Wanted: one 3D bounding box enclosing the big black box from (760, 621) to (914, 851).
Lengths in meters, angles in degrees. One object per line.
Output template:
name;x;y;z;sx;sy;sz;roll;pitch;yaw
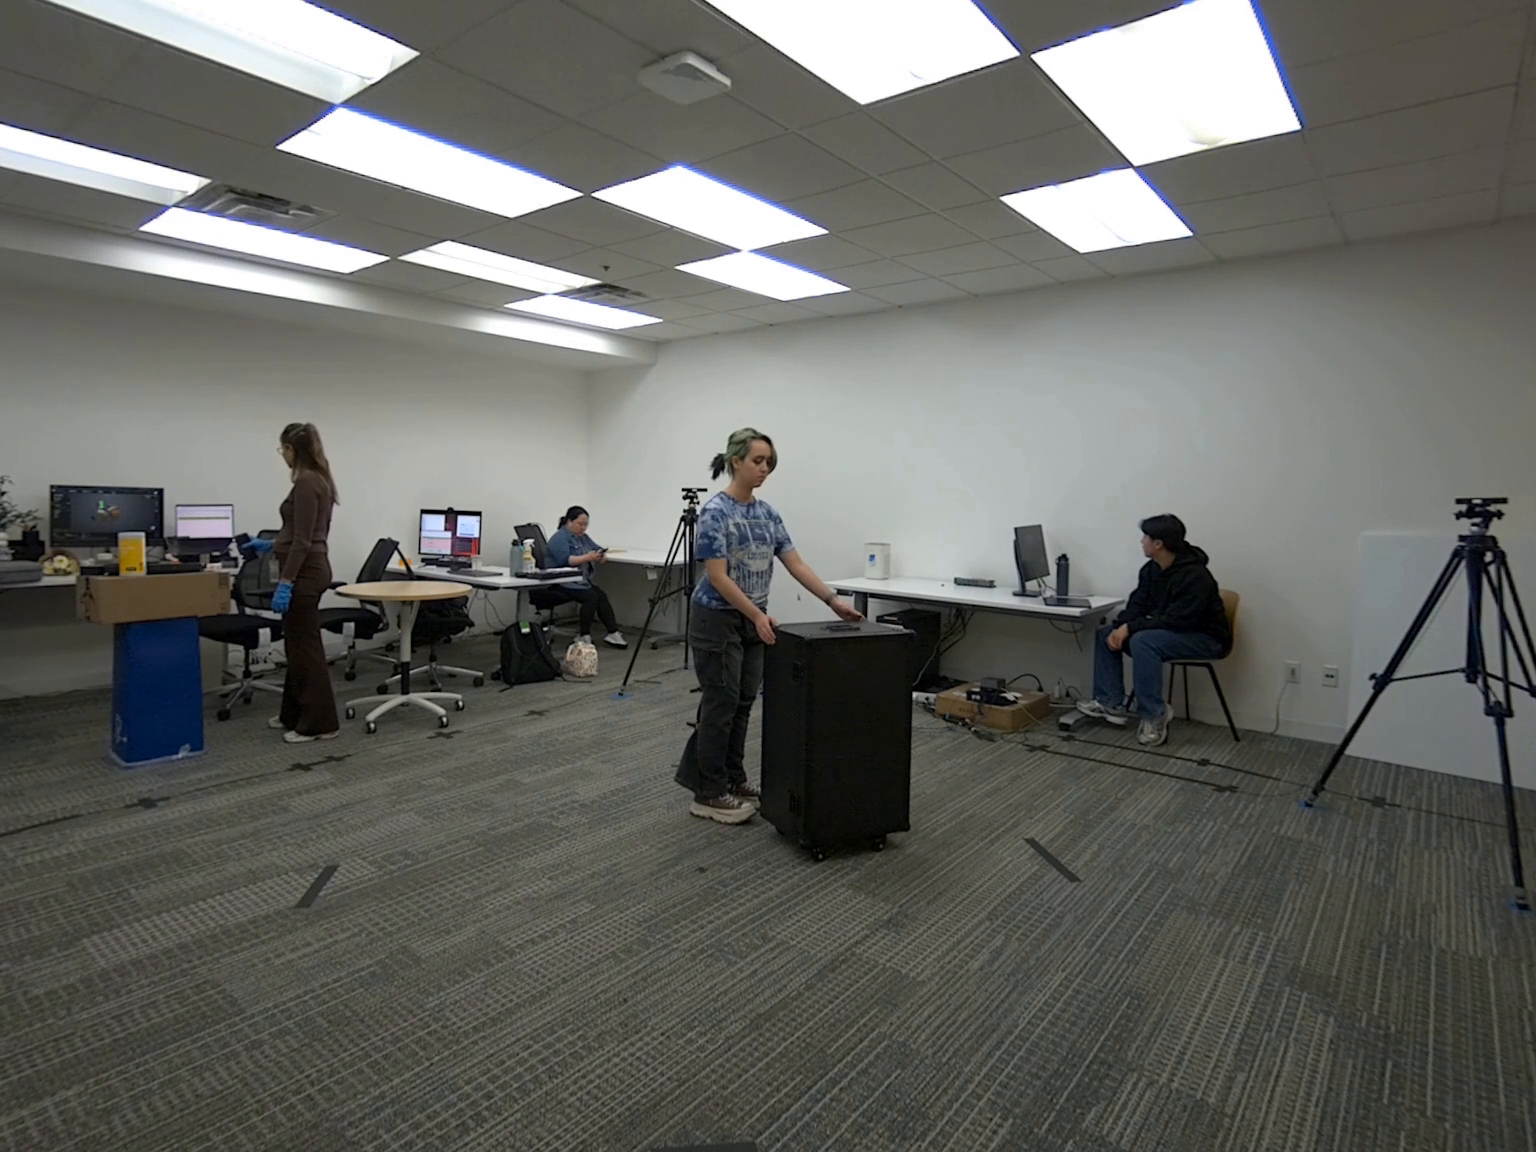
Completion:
big black box;0.254;0.634;3.381;0.508;0.860;0.407;0;2;-26
